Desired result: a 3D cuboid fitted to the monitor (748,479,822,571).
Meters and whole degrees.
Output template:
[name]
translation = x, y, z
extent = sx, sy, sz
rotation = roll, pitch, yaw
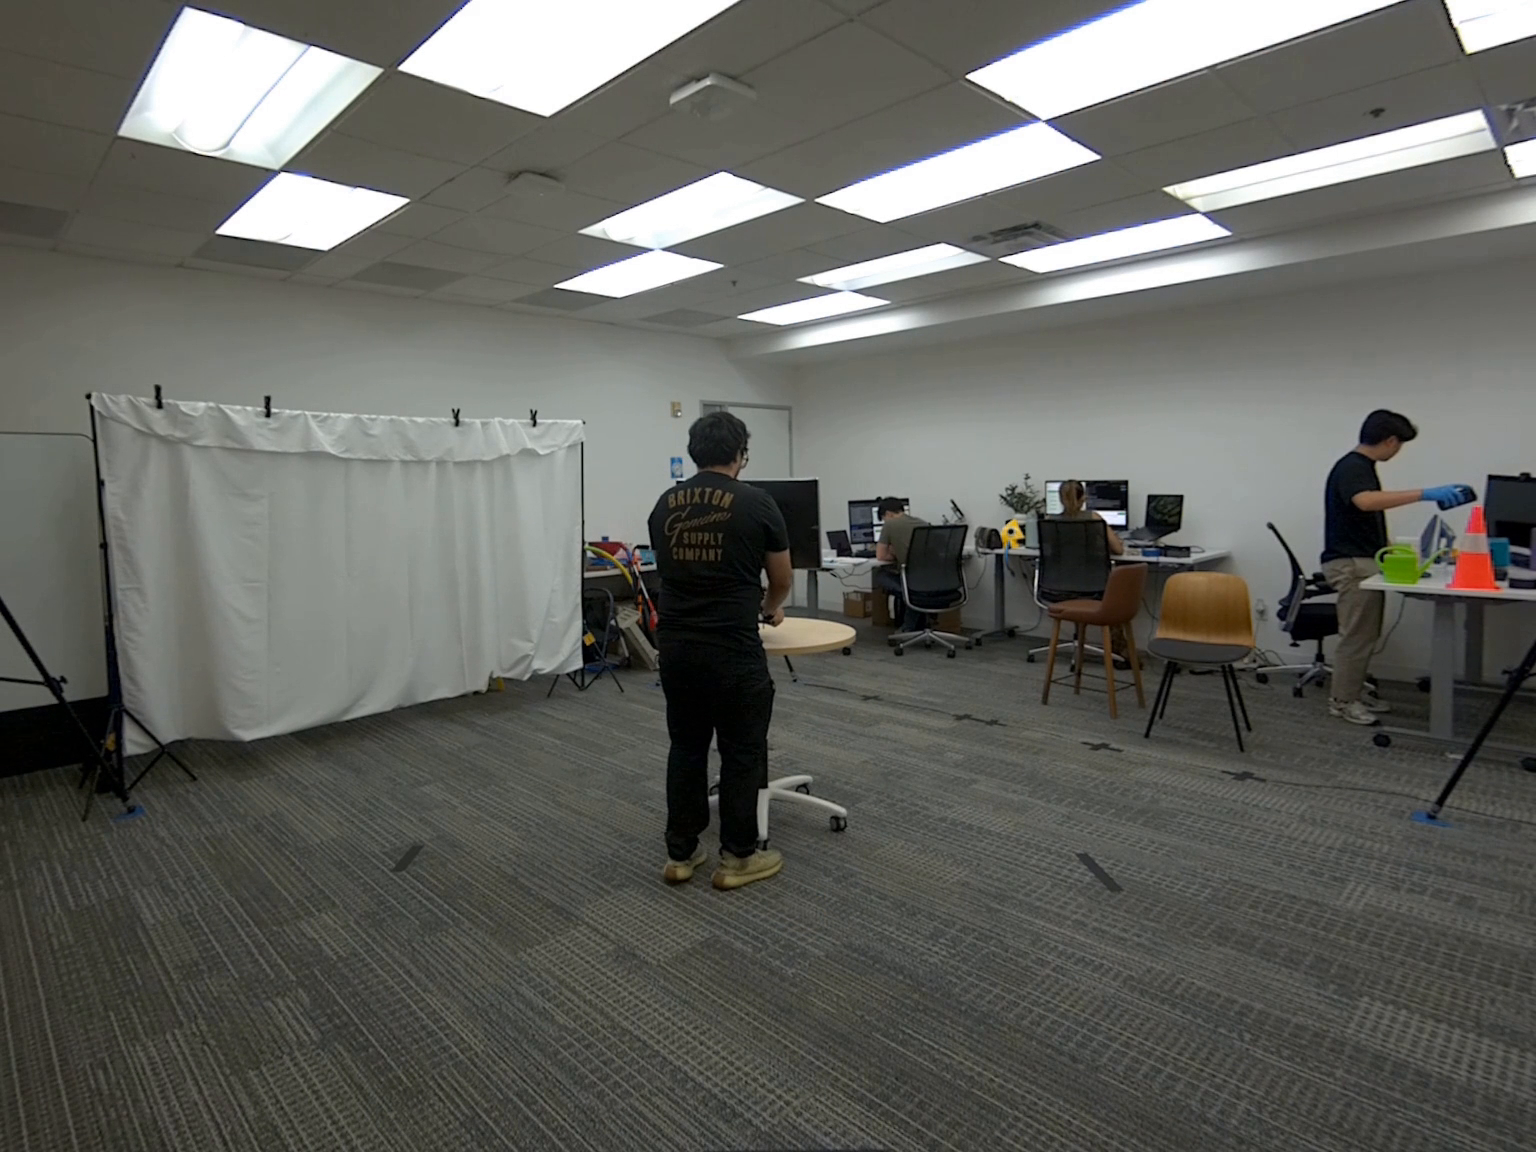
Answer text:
[monitor]
translation = -0.087, -0.097, 3.269
extent = 0.572, 0.548, 0.209
rotation = 1, 11, 13
